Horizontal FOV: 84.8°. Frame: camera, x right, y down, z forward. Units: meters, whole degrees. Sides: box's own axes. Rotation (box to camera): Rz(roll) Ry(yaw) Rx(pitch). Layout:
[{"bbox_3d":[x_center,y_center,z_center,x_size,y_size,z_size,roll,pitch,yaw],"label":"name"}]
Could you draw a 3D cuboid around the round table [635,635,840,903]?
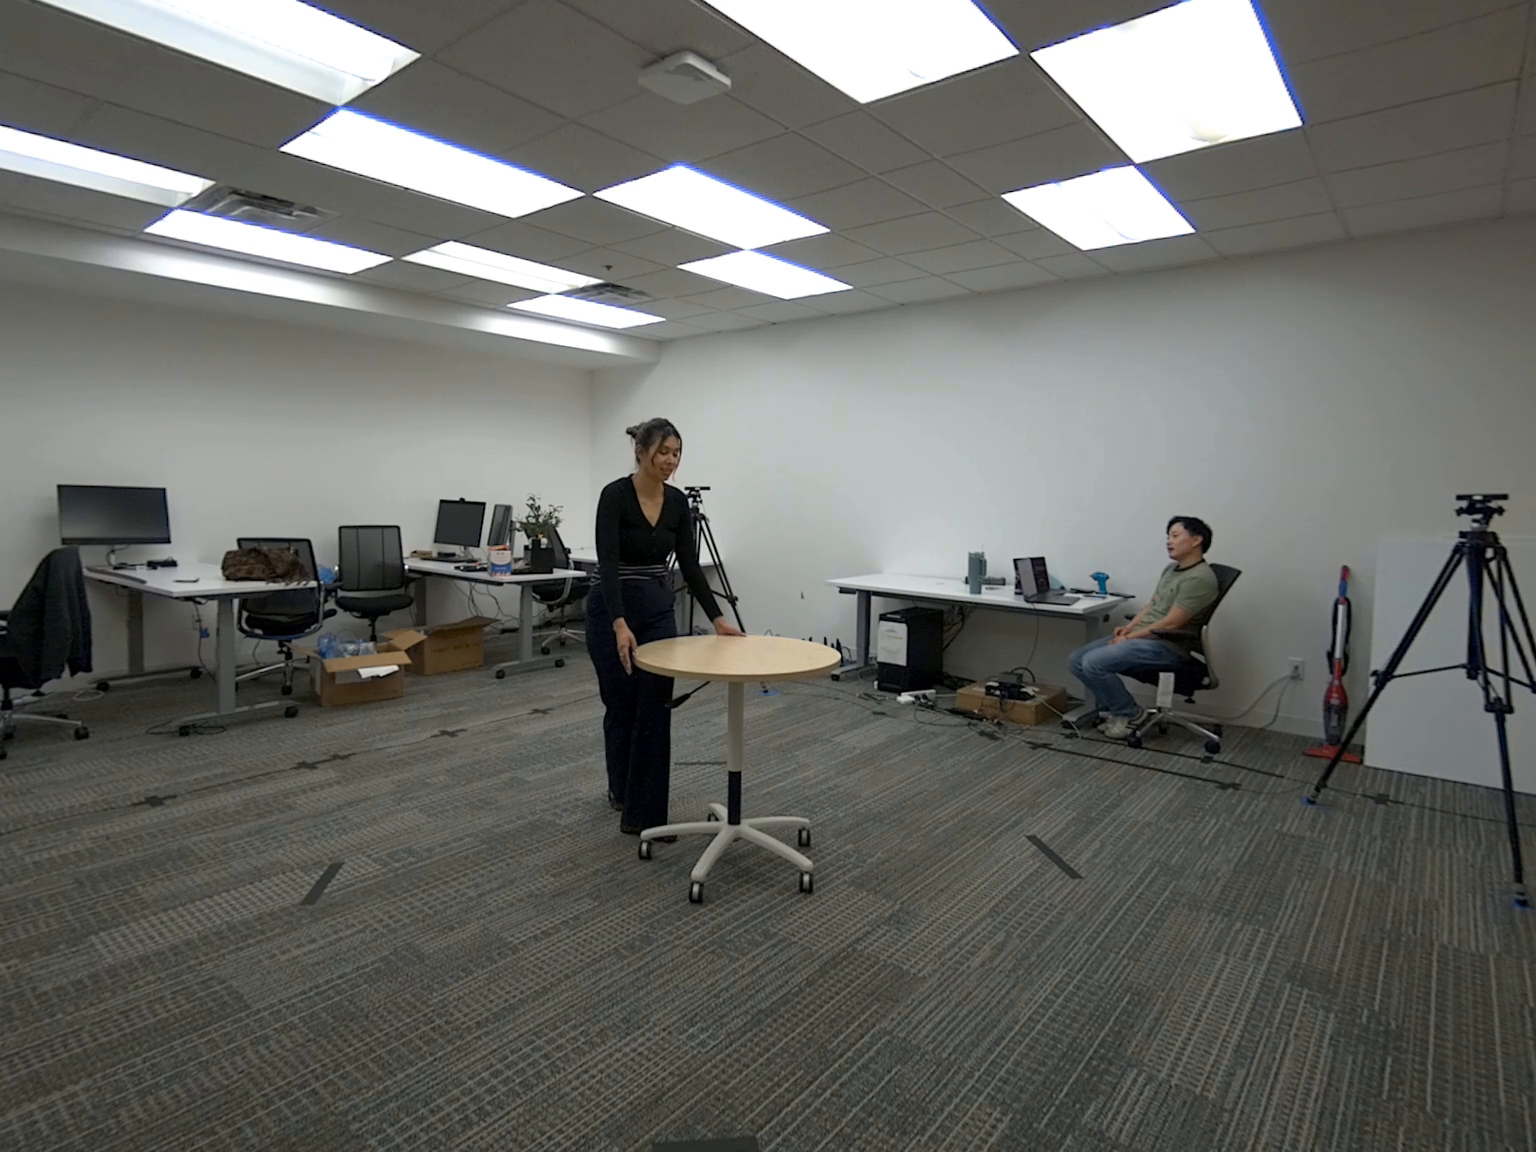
[{"bbox_3d":[-0.134,0.673,3.159,0.763,0.791,0.768,1,4,-2],"label":"round table"}]
